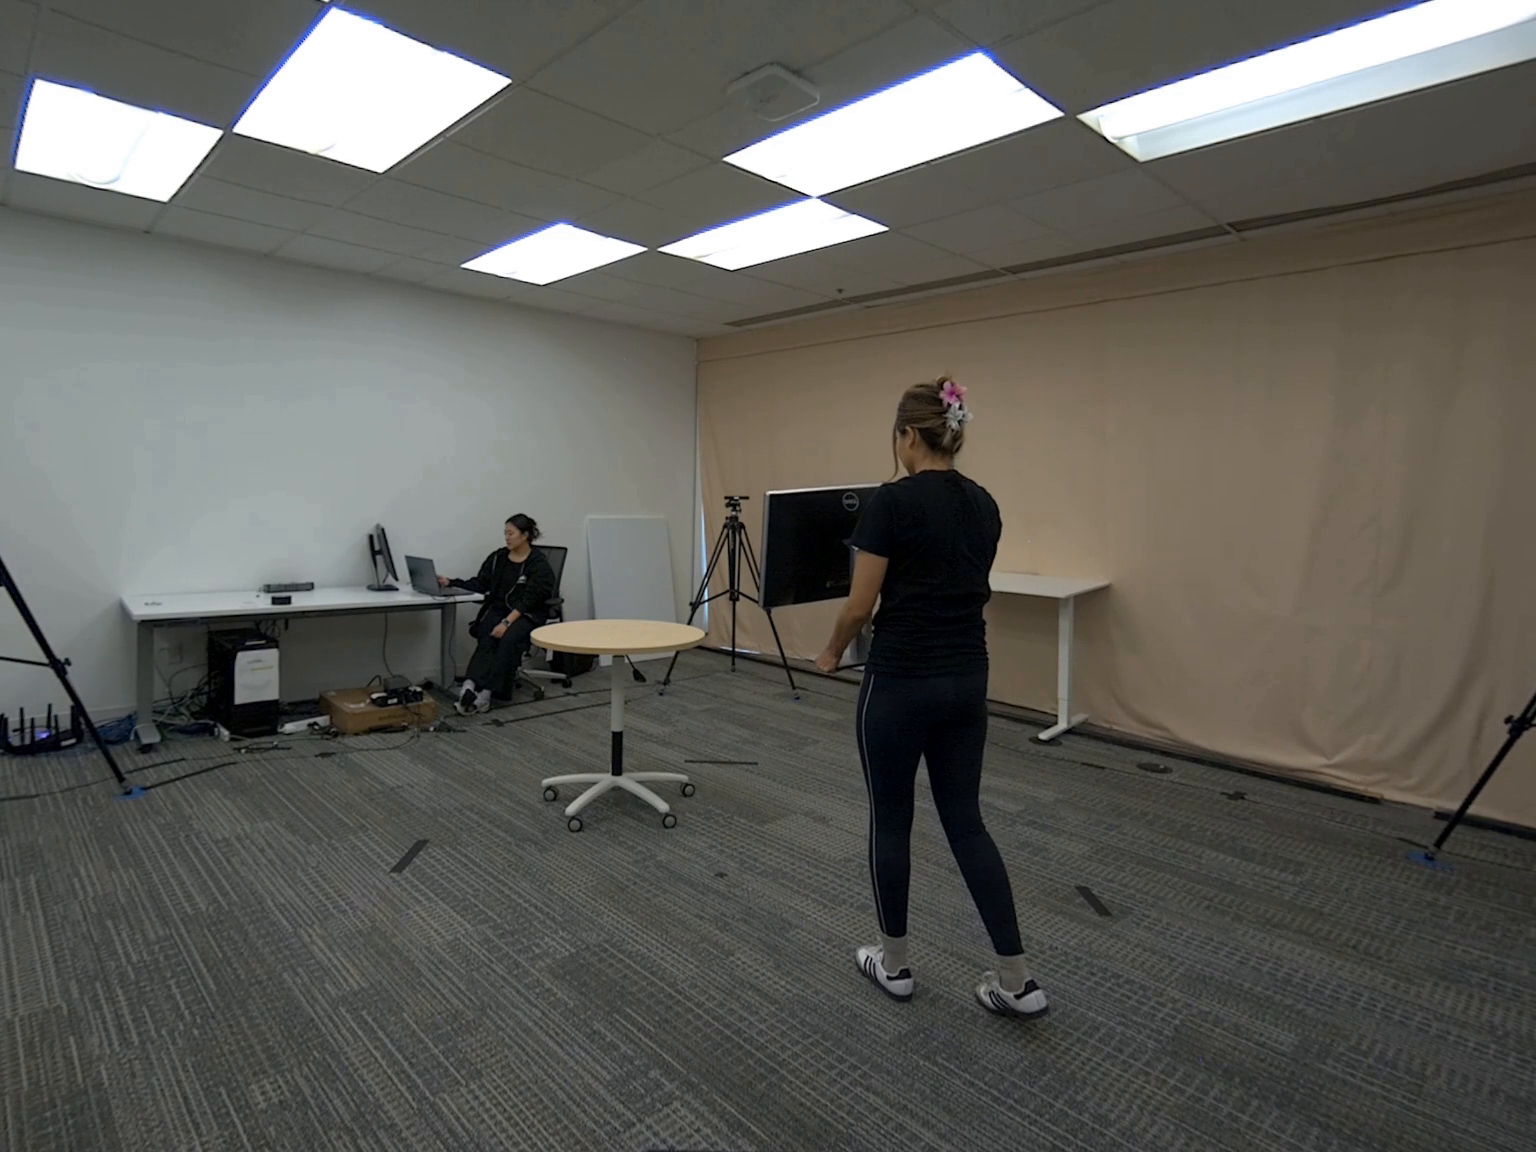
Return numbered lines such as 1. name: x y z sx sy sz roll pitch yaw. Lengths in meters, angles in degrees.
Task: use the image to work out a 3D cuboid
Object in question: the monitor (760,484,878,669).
1. monitor: 0.249 -0.009 2.610 0.529 0.520 0.191 -7 6 -30
